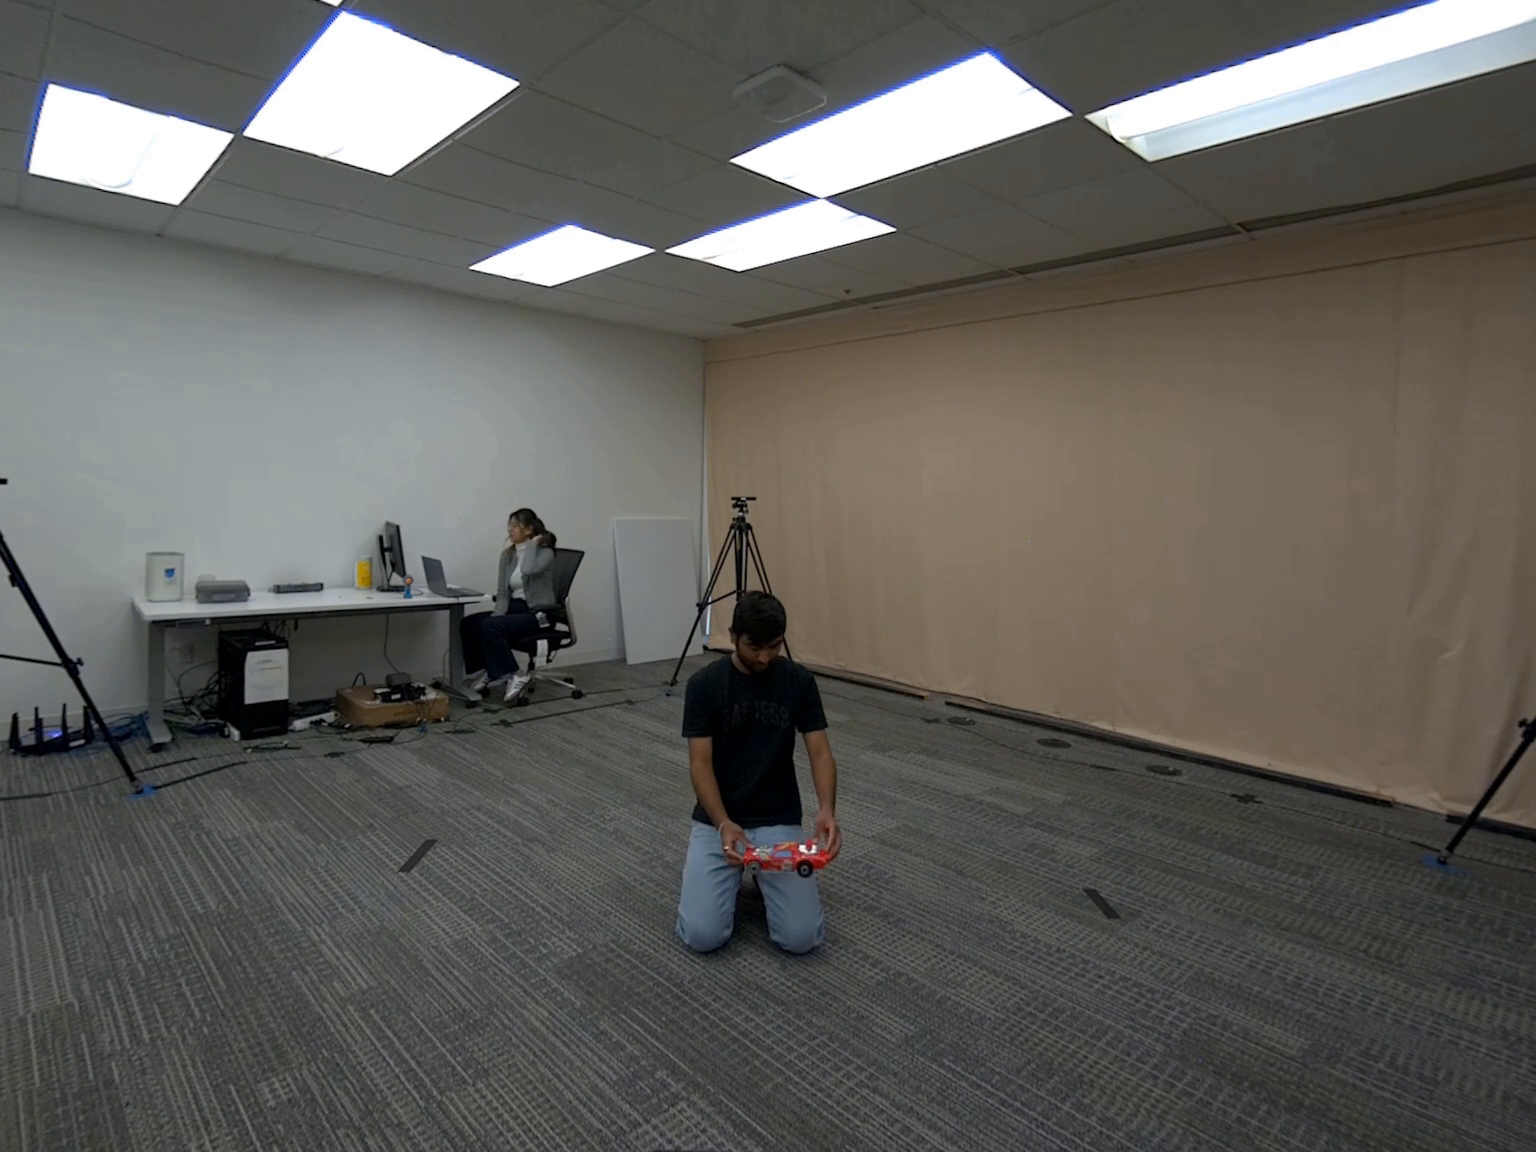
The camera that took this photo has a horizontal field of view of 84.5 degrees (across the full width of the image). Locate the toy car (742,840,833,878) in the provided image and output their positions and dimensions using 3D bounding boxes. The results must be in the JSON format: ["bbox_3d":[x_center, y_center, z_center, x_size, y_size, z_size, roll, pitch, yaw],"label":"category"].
[{"bbox_3d":[0.049,0.827,2.440,0.256,0.083,0.129,-11,0,7],"label":"toy car"}]
